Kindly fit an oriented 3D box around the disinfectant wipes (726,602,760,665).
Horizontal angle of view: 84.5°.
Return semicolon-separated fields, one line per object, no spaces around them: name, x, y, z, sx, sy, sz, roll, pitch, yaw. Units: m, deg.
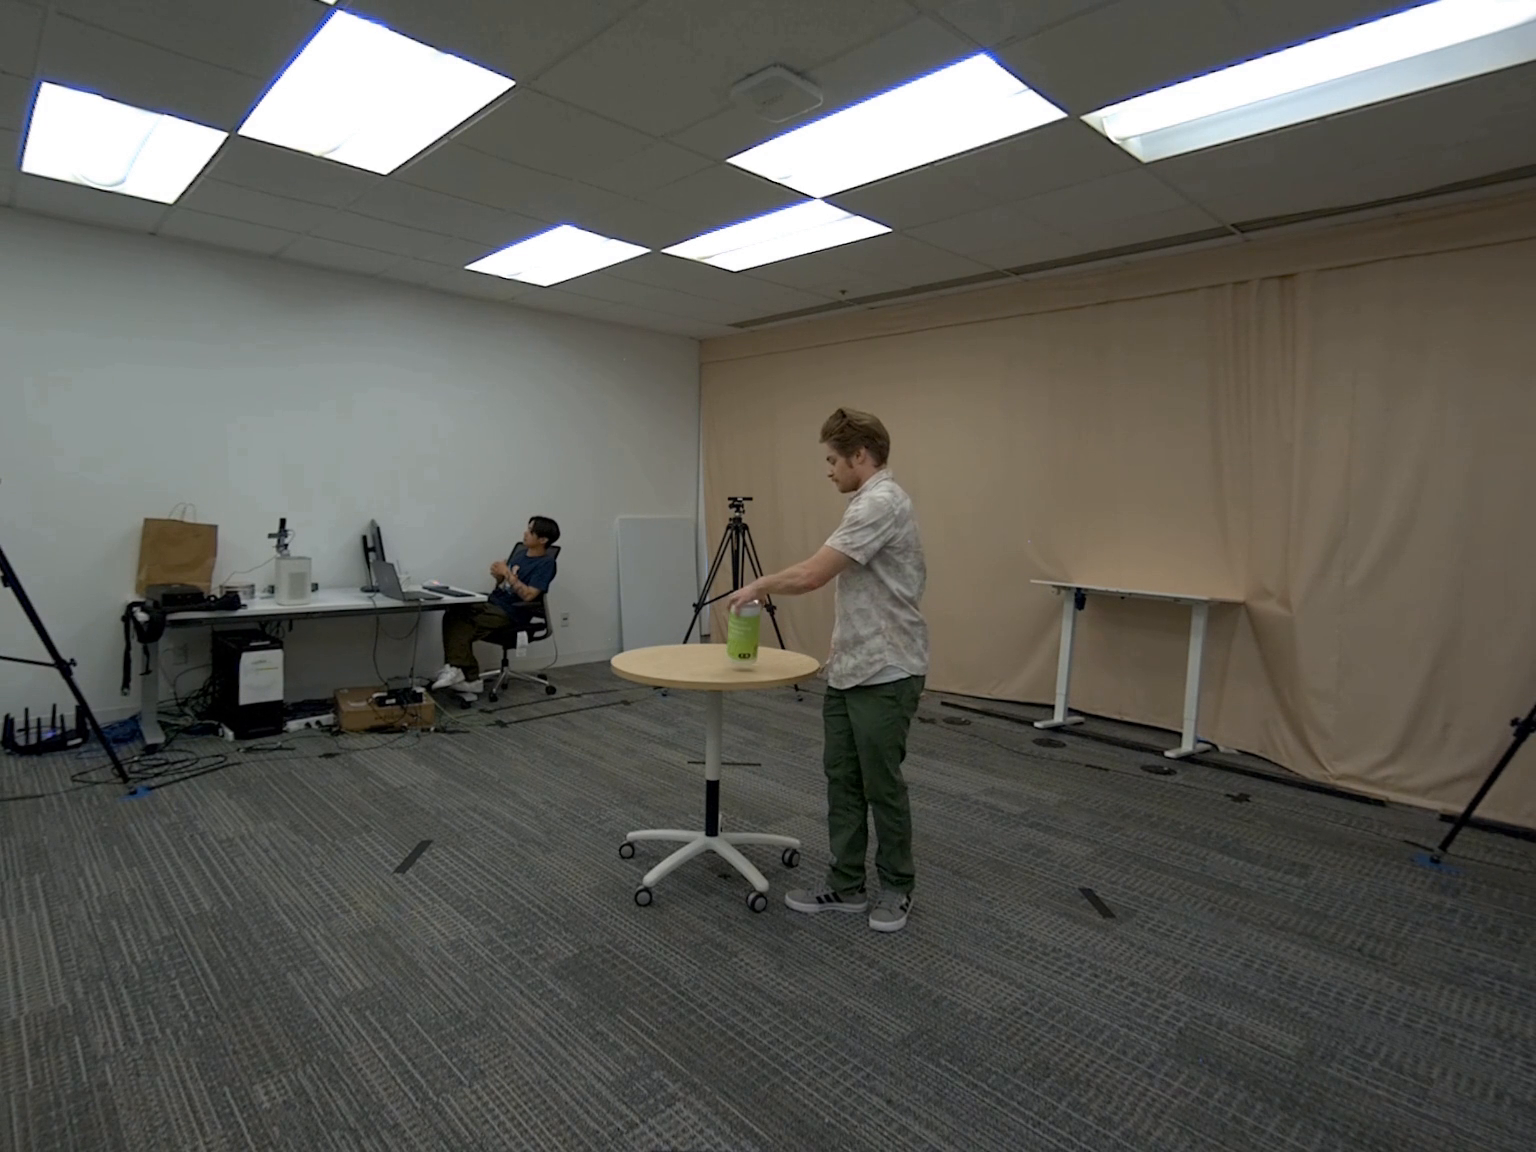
disinfectant wipes;-0.094;0.185;2.909;0.117;0.214;0.119;4;21;-3
